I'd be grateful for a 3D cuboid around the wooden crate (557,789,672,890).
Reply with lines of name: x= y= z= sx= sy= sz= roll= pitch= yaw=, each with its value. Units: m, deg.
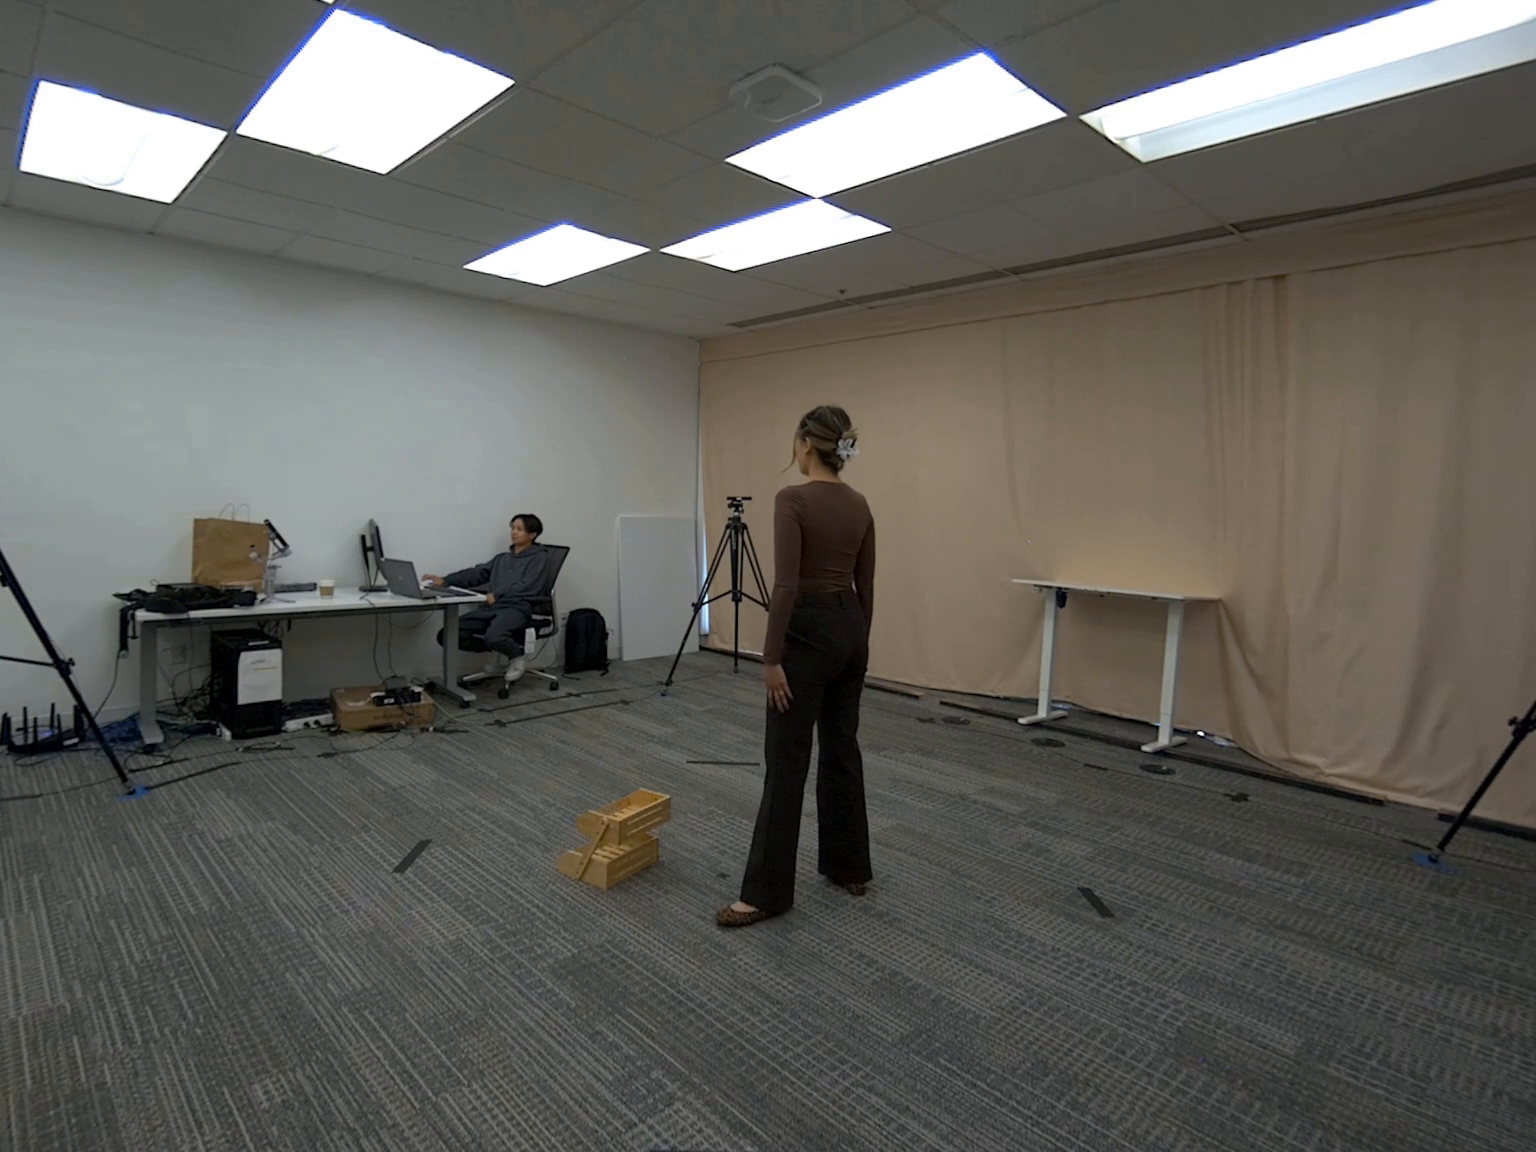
wooden crate: x=-0.584 y=0.956 z=3.147 sx=0.309 sy=0.272 sz=0.318 roll=5 pitch=5 yaw=31
